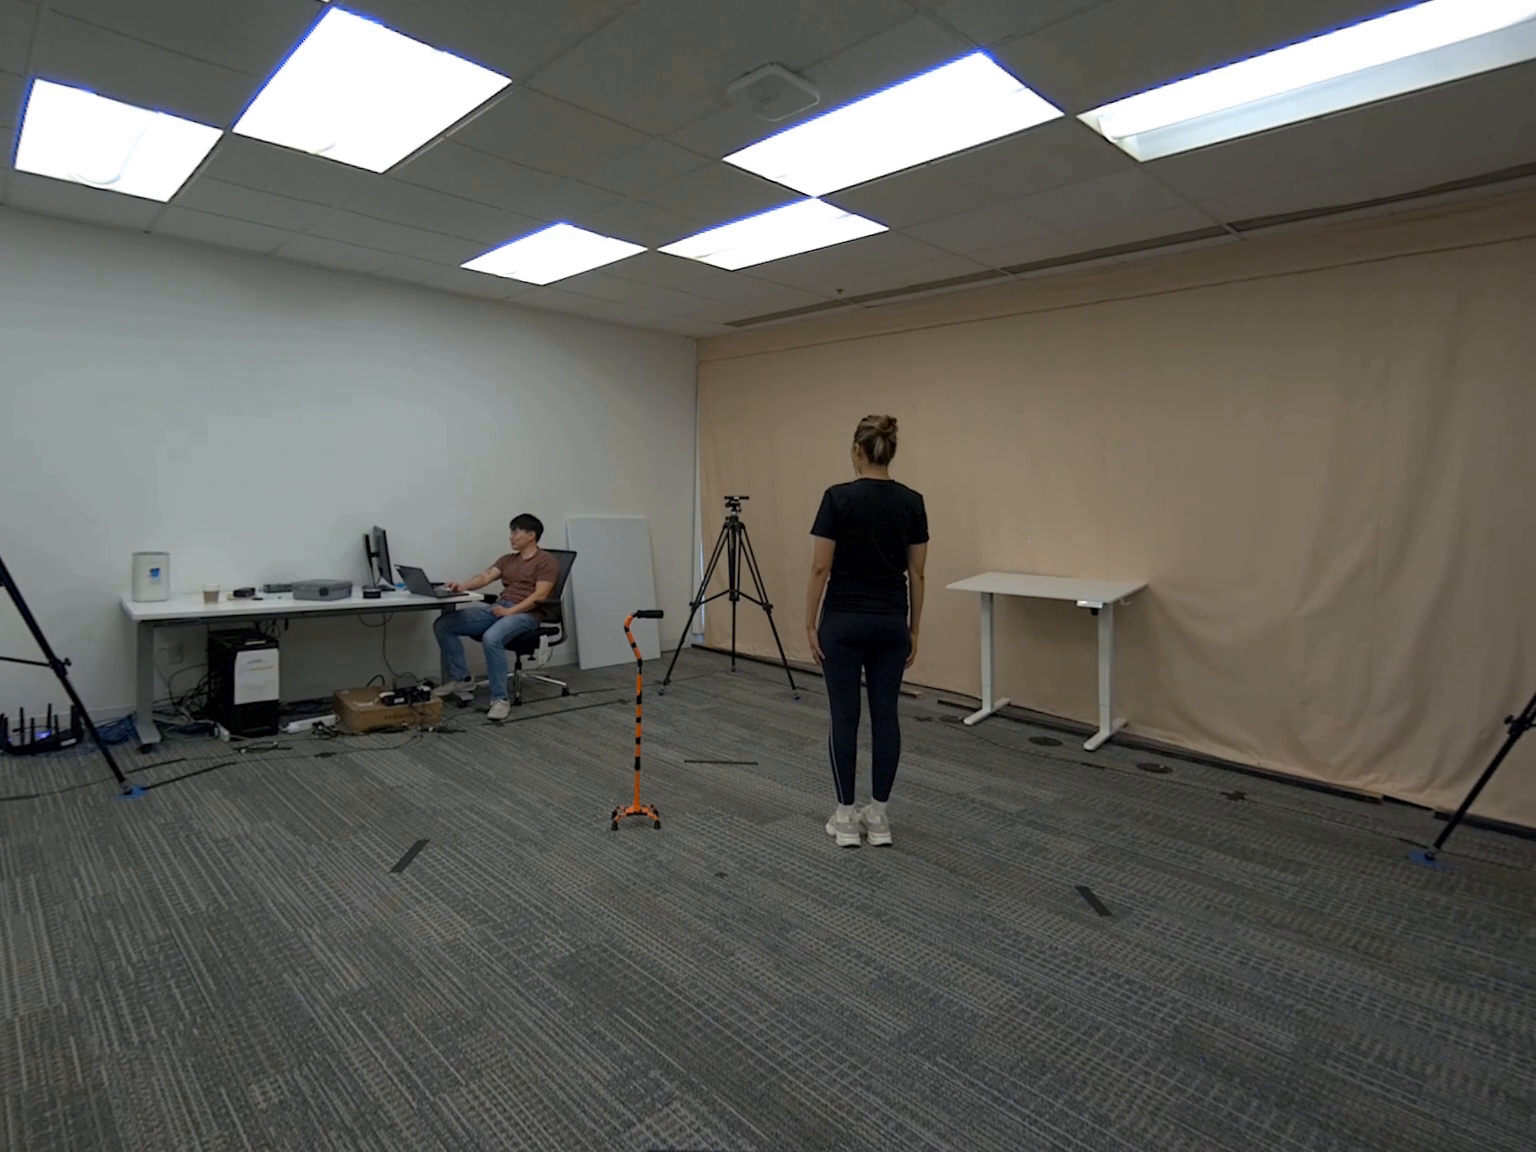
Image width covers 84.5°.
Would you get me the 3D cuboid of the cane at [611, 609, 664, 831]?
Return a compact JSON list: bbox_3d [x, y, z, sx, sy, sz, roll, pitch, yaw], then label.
[{"bbox_3d":[-0.561,0.598,3.557,0.205,0.906,0.153,1,3,-10],"label":"cane"}]
